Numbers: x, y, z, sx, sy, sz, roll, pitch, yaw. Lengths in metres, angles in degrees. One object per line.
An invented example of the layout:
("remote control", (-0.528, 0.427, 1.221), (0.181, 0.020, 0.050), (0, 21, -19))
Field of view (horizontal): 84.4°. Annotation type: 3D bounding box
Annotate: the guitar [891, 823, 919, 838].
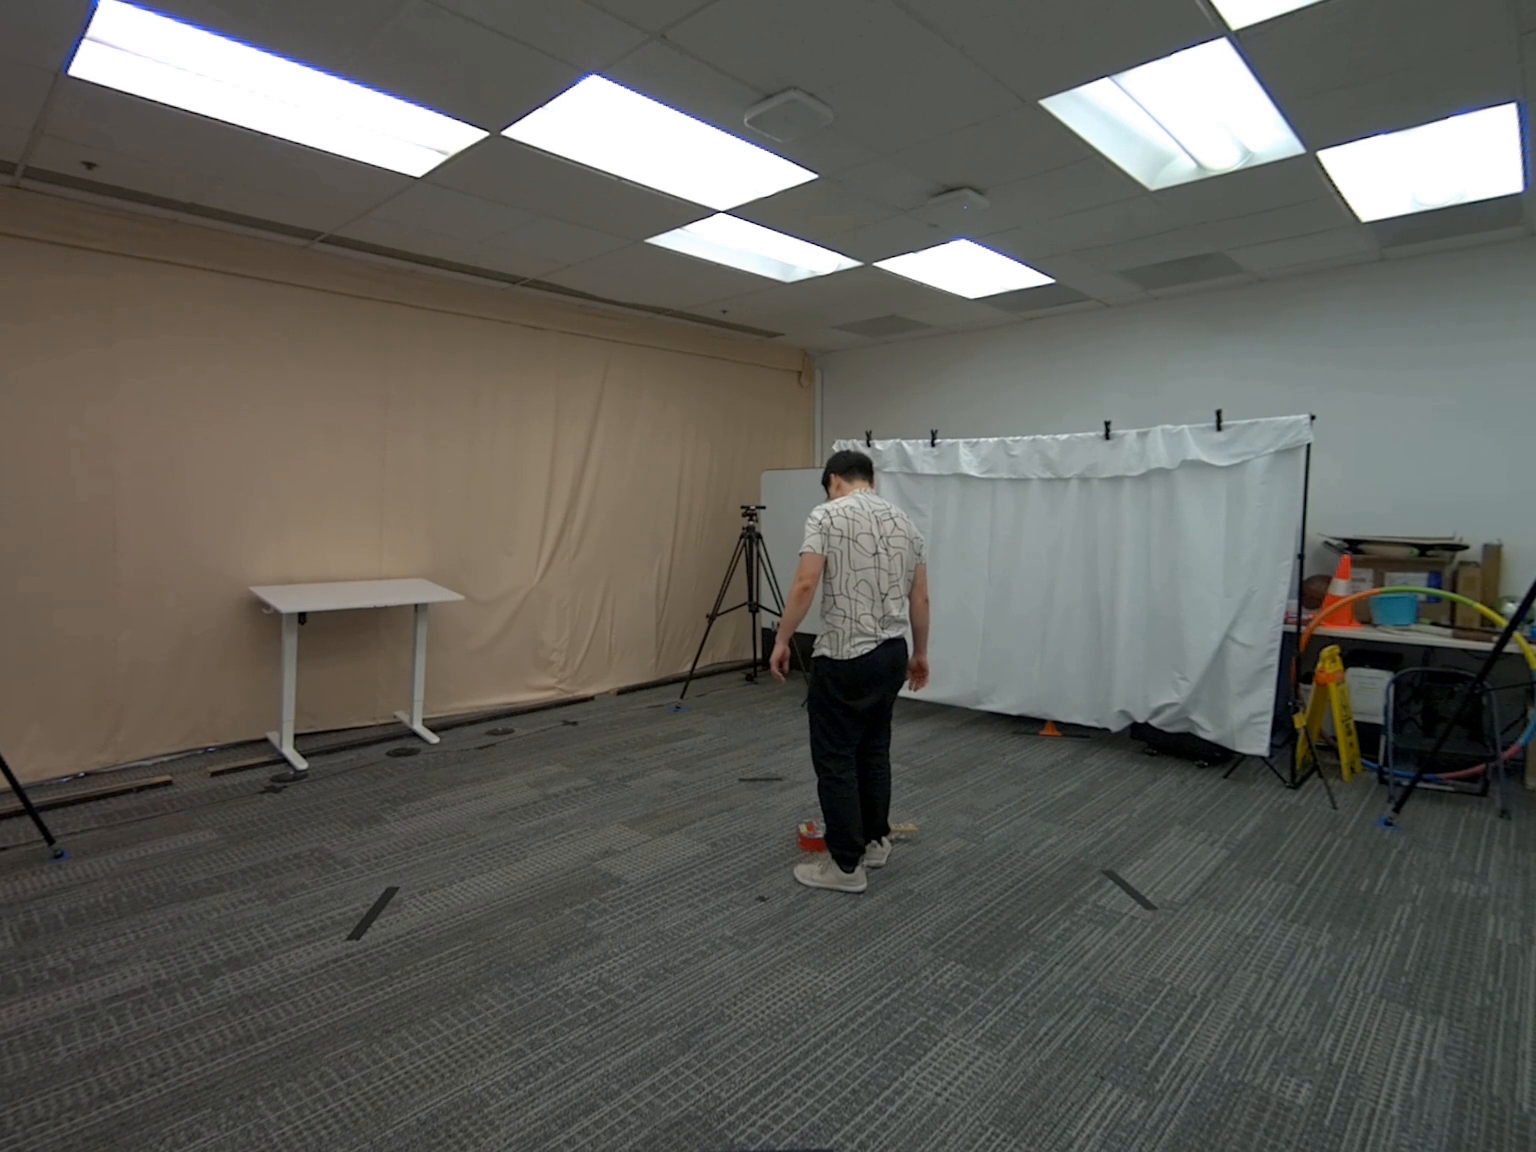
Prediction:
("guitar", (0.373, 1.069, 3.452), (0.501, 0.070, 0.192), (0, 4, 5))
